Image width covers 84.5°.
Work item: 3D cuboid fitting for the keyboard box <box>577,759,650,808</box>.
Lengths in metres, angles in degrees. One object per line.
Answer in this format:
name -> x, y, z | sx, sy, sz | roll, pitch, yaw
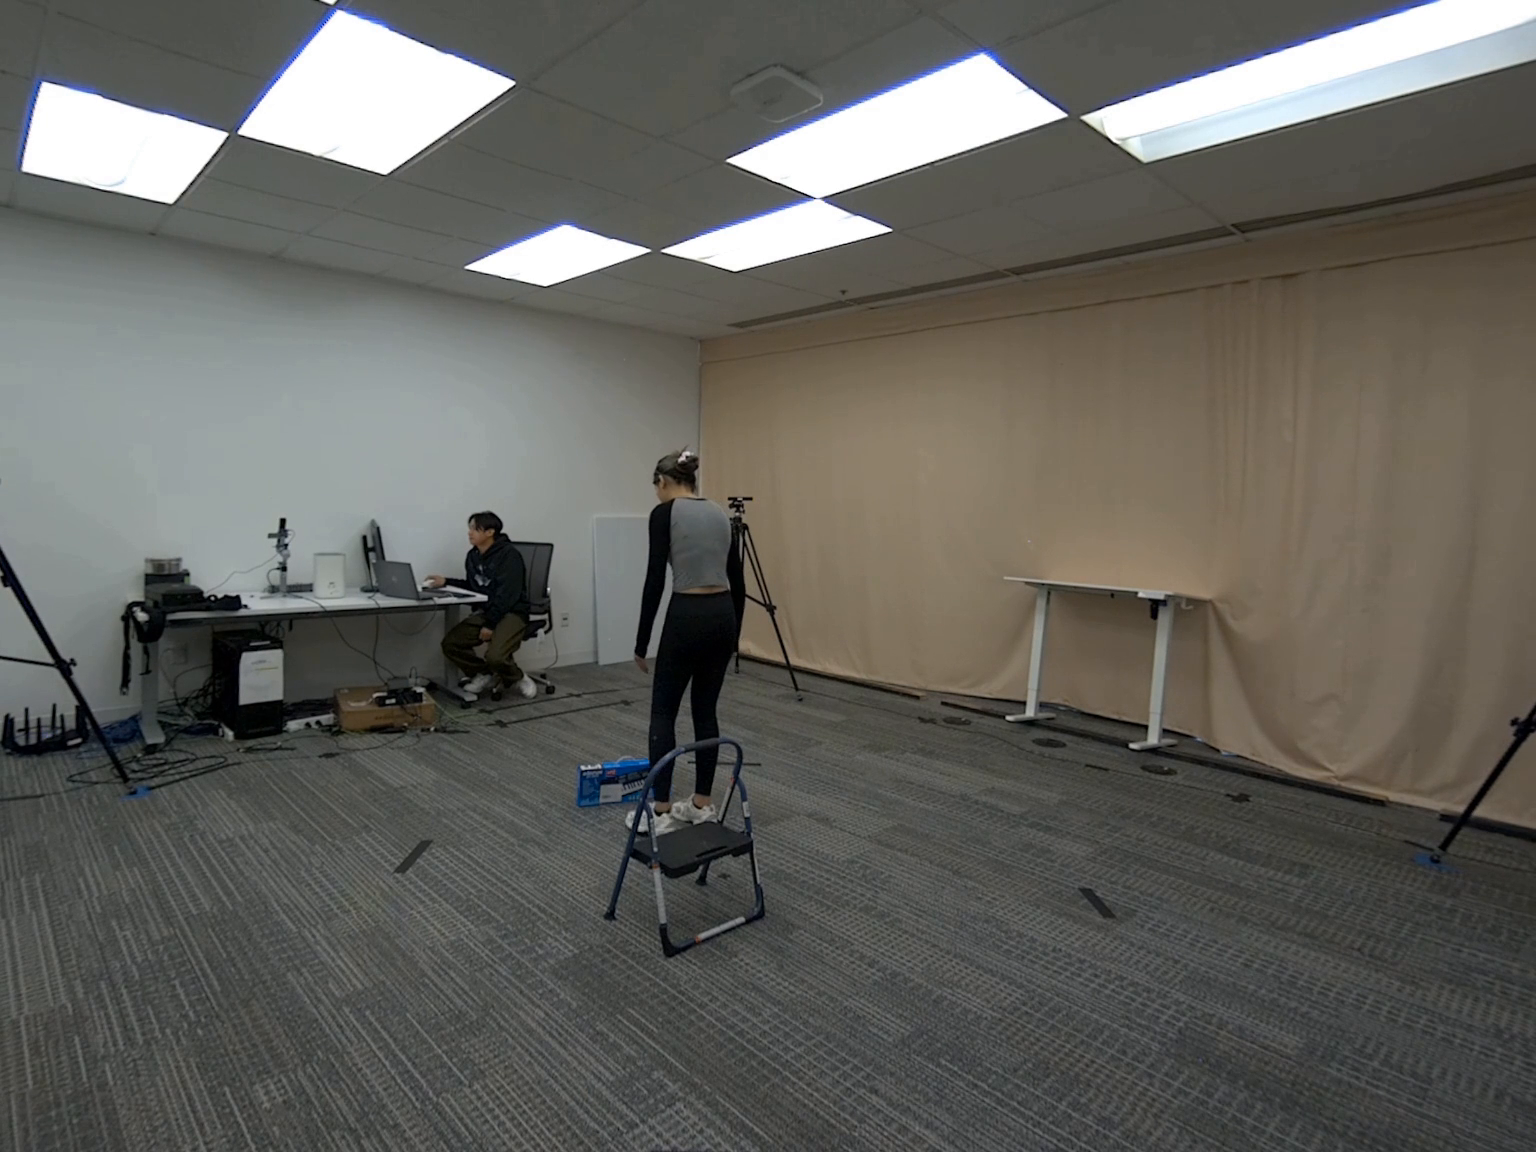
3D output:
keyboard box -> -0.667, 0.943, 3.859 | 0.429, 0.175, 0.060 | 0, 8, -25
